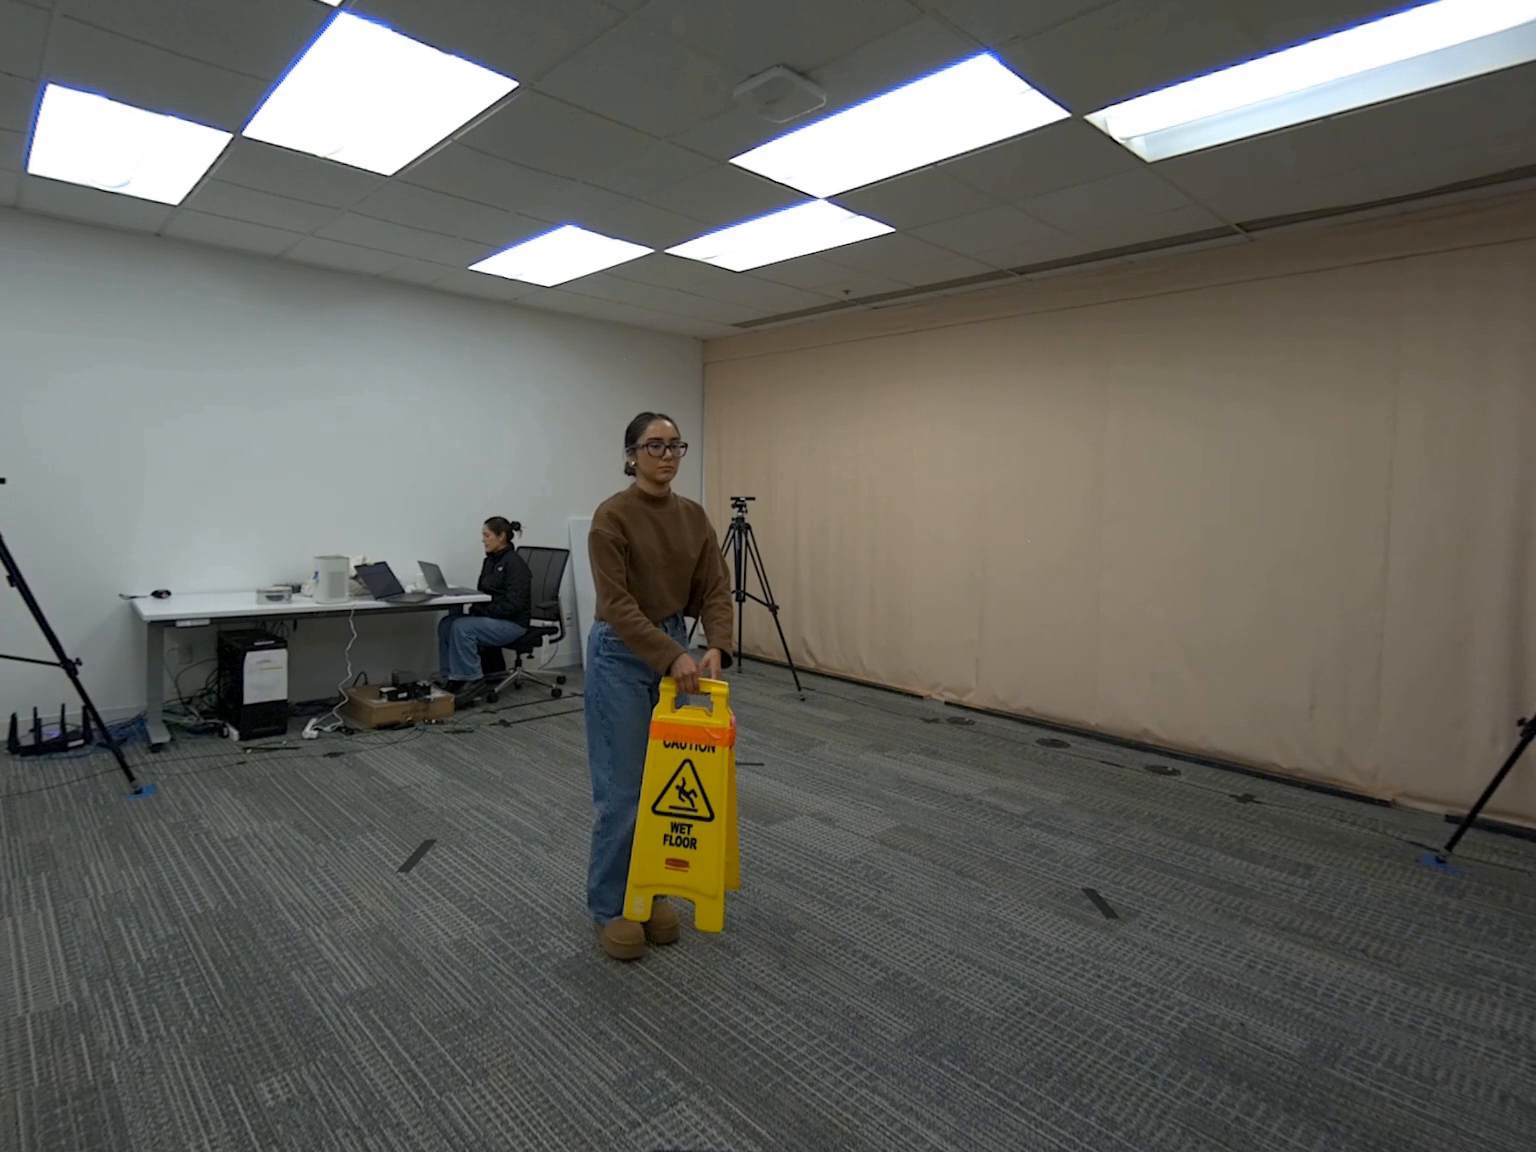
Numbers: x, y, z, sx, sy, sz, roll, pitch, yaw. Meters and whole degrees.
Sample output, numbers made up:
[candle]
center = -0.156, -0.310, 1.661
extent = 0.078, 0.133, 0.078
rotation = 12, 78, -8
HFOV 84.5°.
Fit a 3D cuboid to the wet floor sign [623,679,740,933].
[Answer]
[wet floor sign]
center = -0.226, 0.624, 2.391
extent = 0.284, 0.645, 0.288
rotation = 3, 2, 9
